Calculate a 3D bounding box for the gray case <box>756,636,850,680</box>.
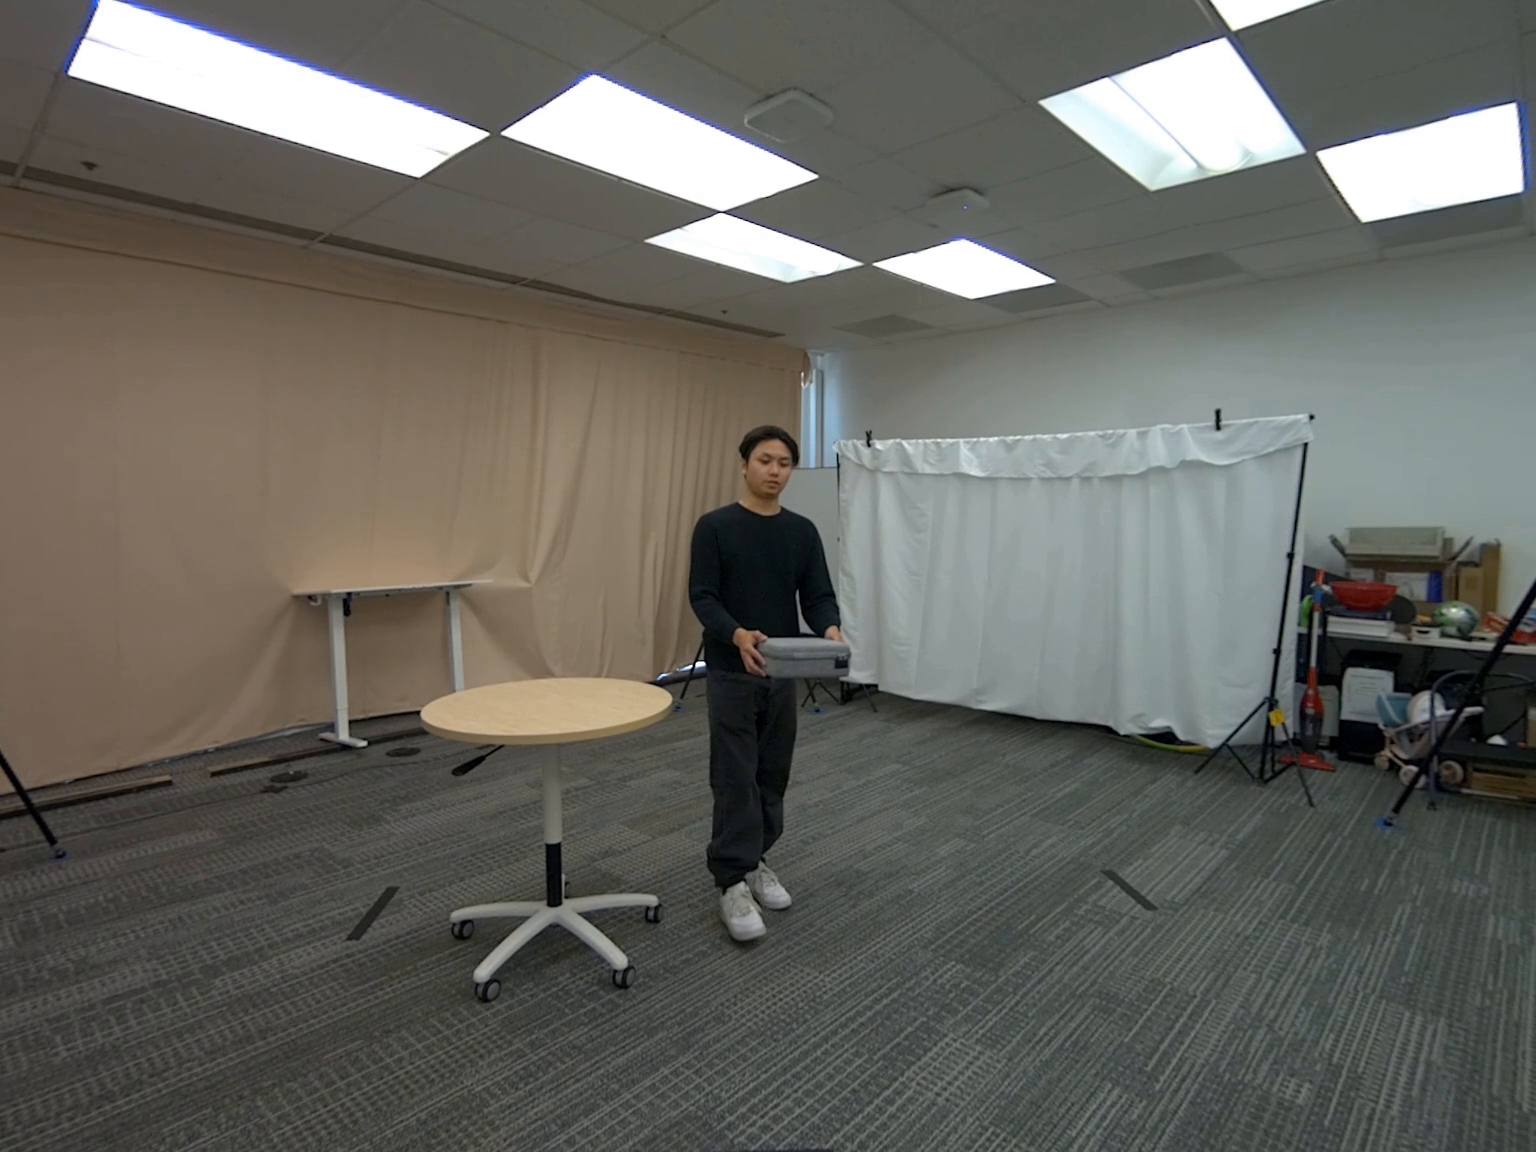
[{"bbox_3d":[0.109,0.248,2.618,0.254,0.104,0.263,-2,0,-11],"label":"gray case"}]
